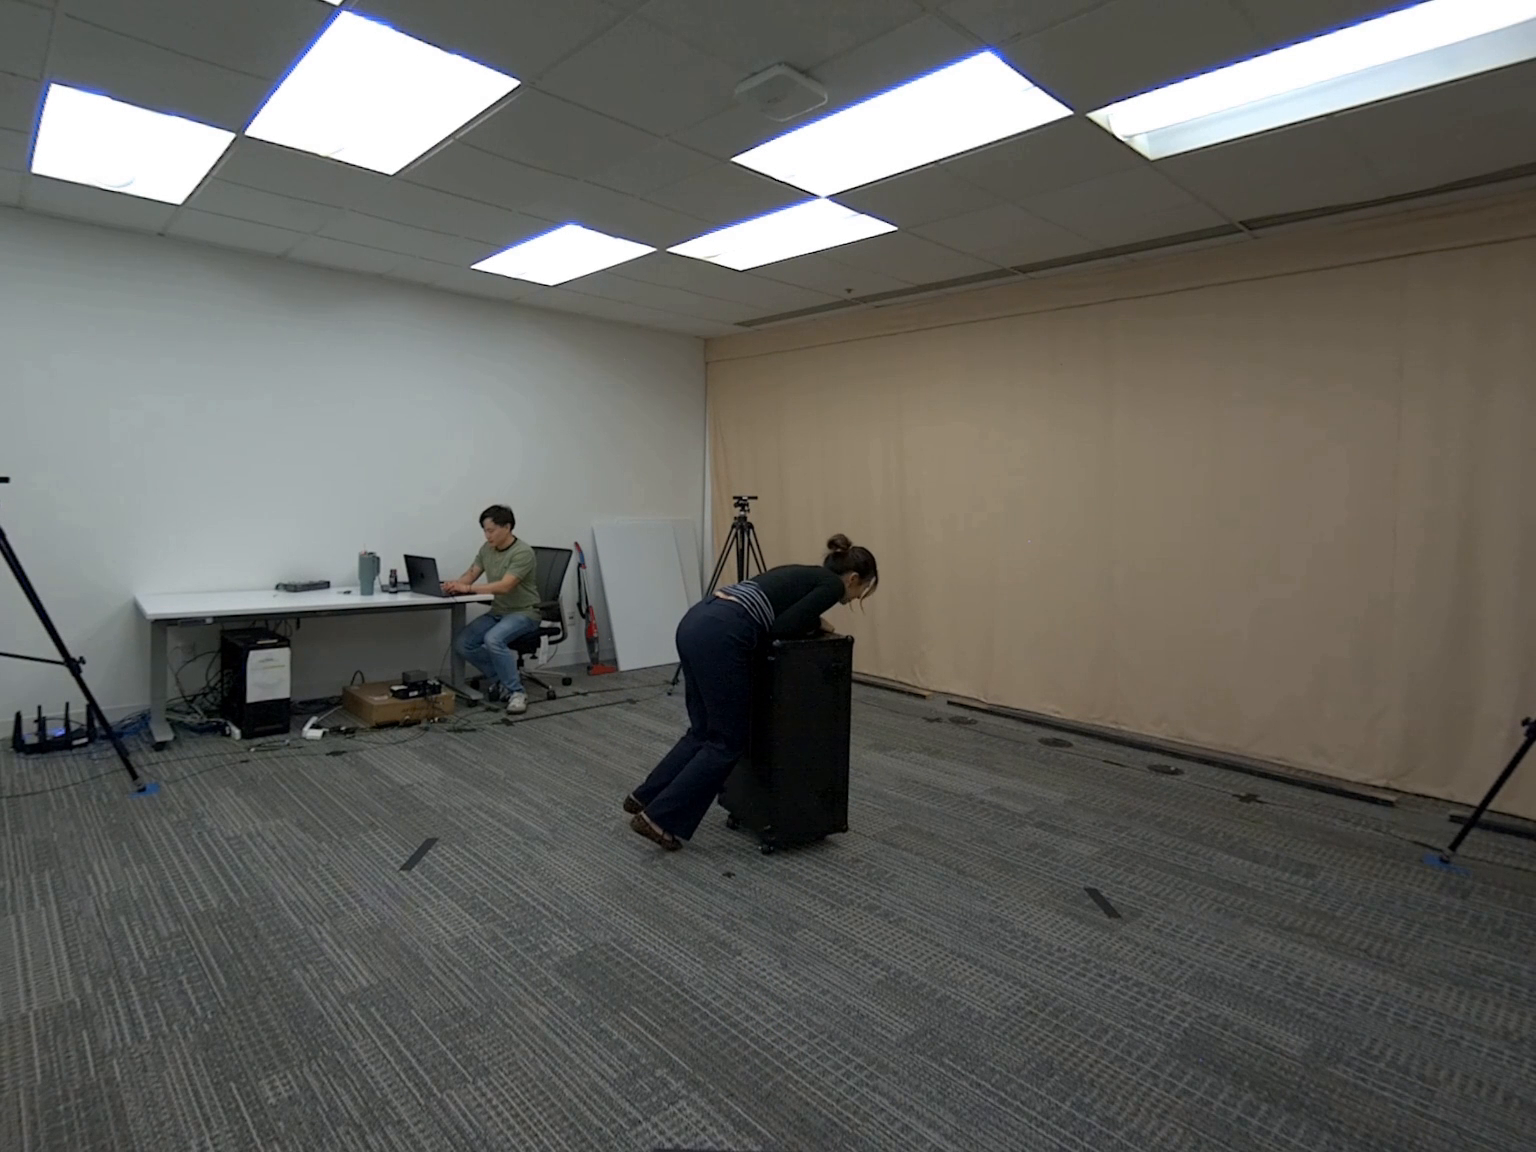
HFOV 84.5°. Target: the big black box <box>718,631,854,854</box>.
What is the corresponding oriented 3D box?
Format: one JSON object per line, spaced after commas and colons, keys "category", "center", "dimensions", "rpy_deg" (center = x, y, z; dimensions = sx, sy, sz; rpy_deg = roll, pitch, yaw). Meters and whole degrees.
{"category": "big black box", "center": [0.052, 0.654, 3.470], "dimensions": [0.389, 0.859, 0.532], "rpy_deg": [-1, 4, -26]}
